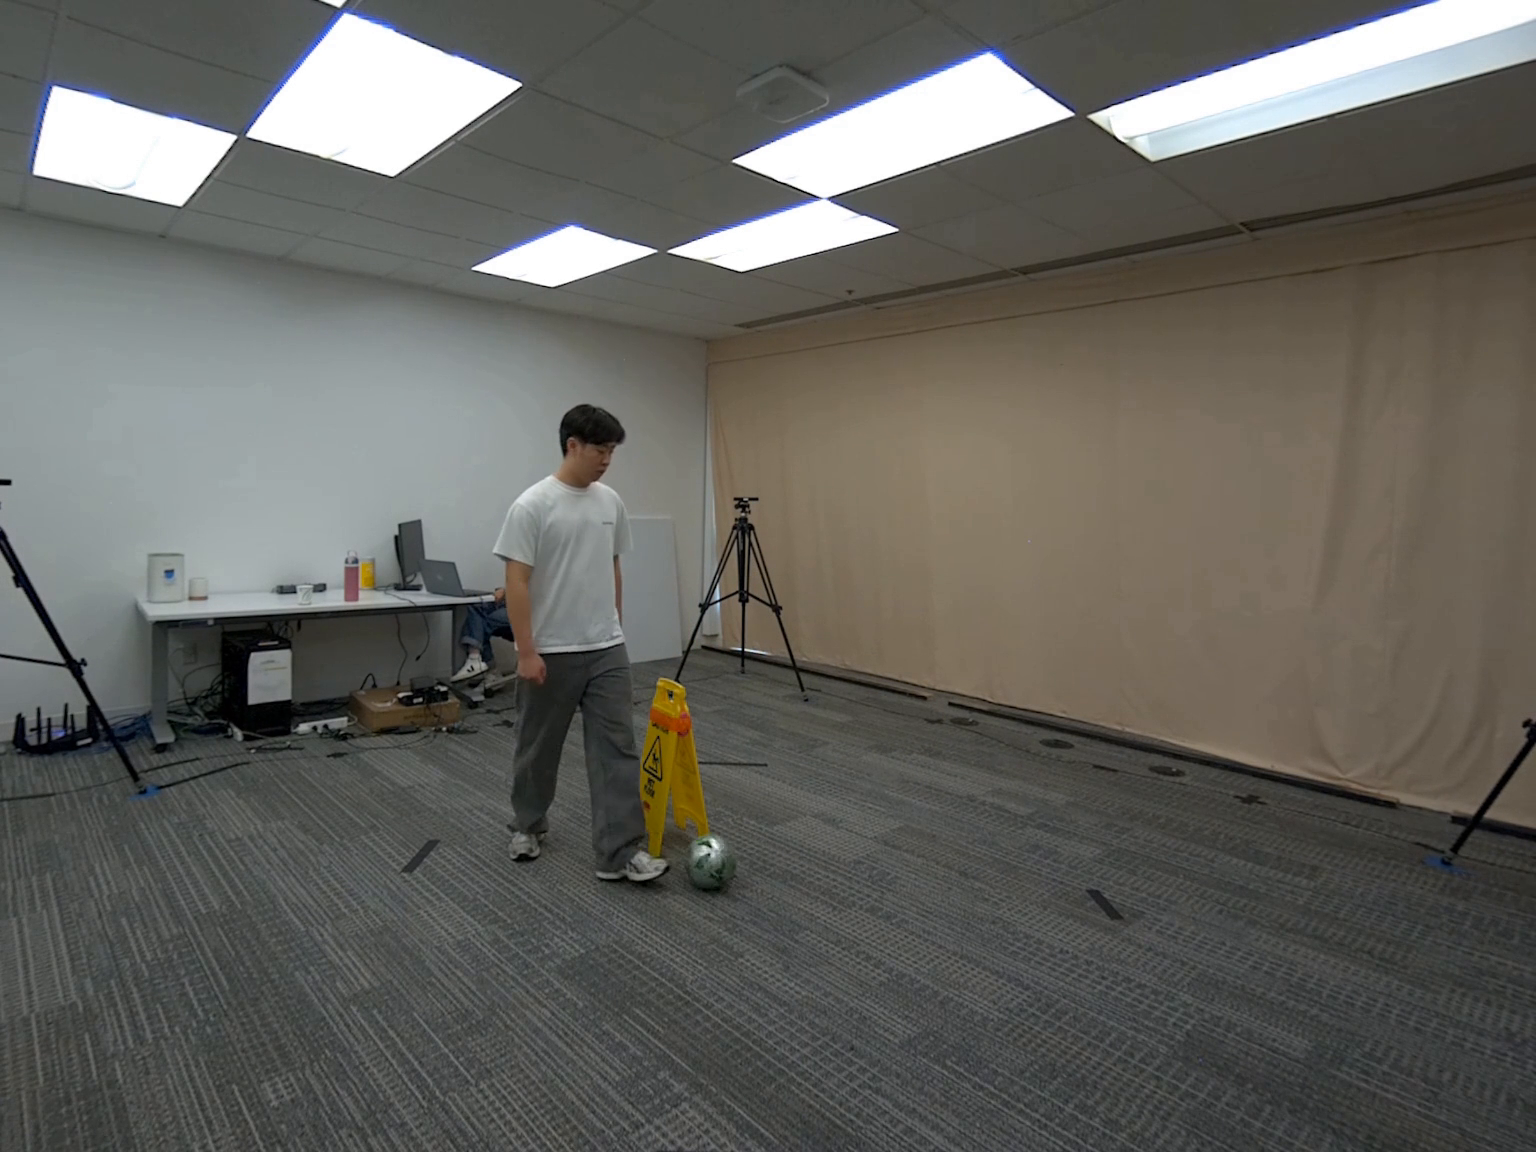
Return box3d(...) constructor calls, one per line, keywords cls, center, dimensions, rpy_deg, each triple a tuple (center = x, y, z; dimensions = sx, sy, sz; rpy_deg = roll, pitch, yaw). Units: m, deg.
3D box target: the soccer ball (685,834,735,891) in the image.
box3d(cls="soccer ball", center=(-0.227, 1.025, 3.003), dimensions=(0.187, 0.187, 0.188), rpy_deg=(1, 4, -1))
